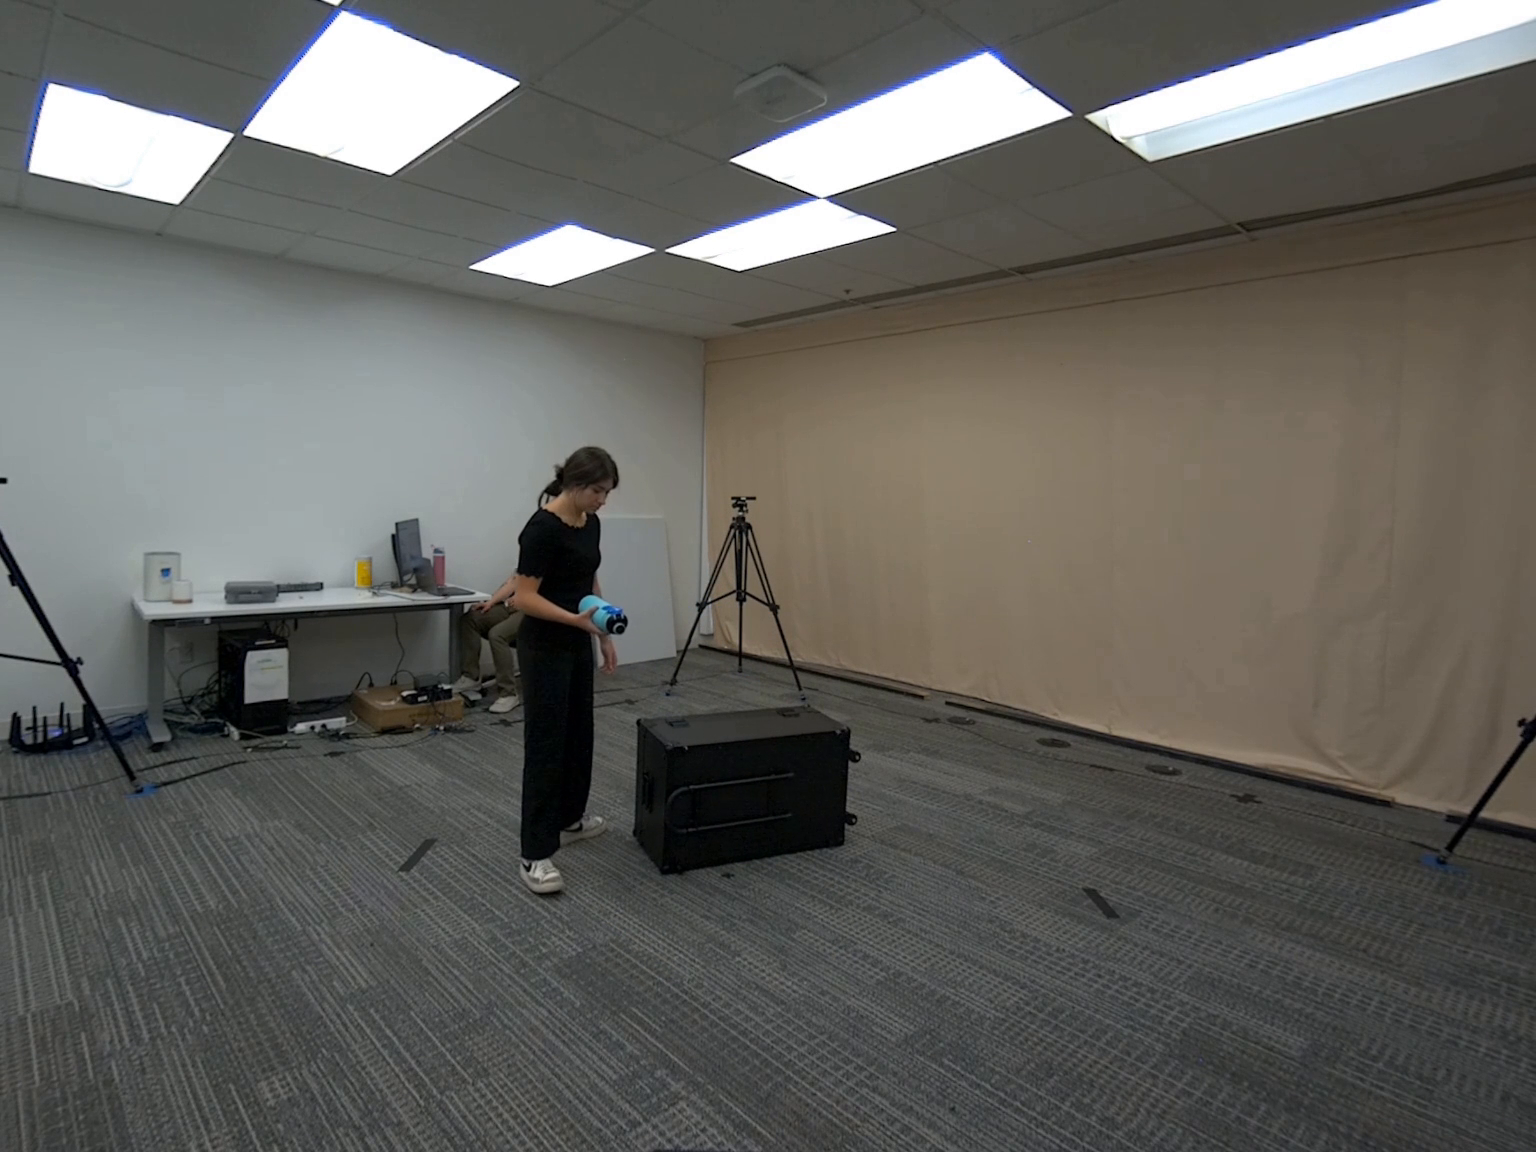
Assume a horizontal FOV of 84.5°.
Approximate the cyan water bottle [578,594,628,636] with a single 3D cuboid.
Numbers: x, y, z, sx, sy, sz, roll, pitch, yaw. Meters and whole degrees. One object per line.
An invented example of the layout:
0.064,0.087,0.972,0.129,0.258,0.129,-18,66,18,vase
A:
-0.576,0.138,2.921,0.090,0.092,0.291,-1,10,-31,cyan water bottle
